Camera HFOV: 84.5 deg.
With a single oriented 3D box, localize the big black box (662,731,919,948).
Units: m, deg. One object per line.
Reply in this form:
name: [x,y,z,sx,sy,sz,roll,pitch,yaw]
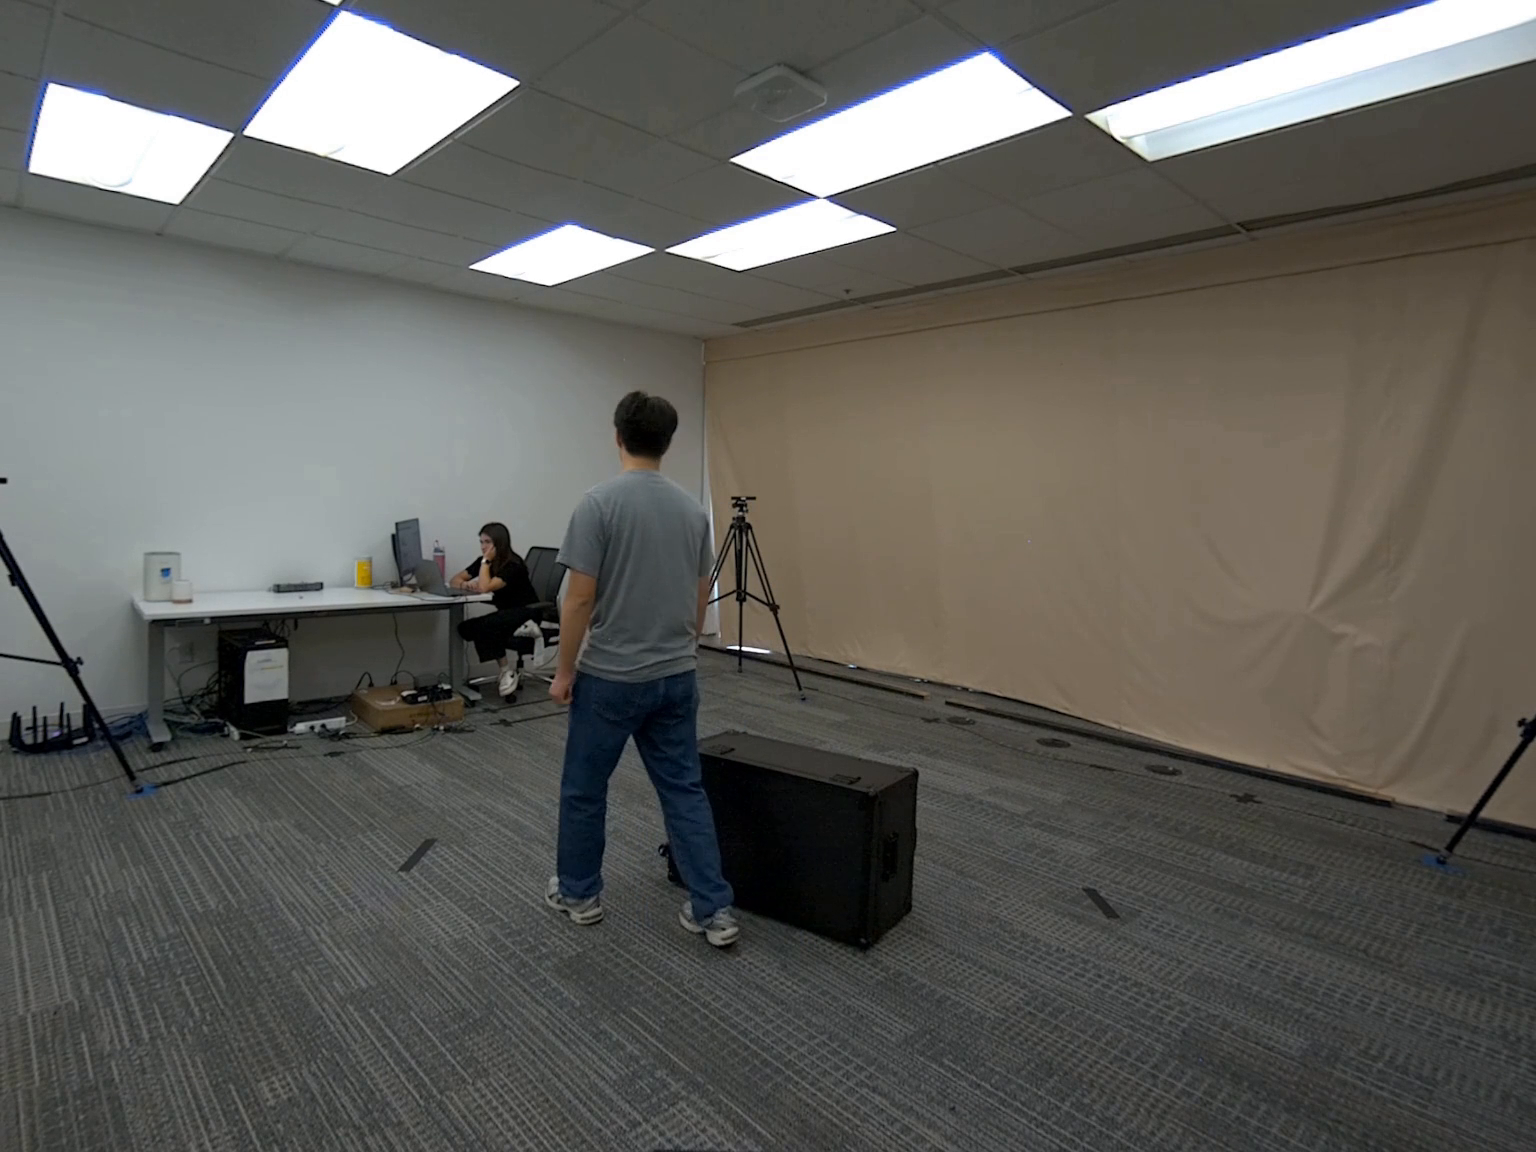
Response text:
big black box: [0.055,0.864,2.965,0.881,0.520,0.387,4,2,33]
